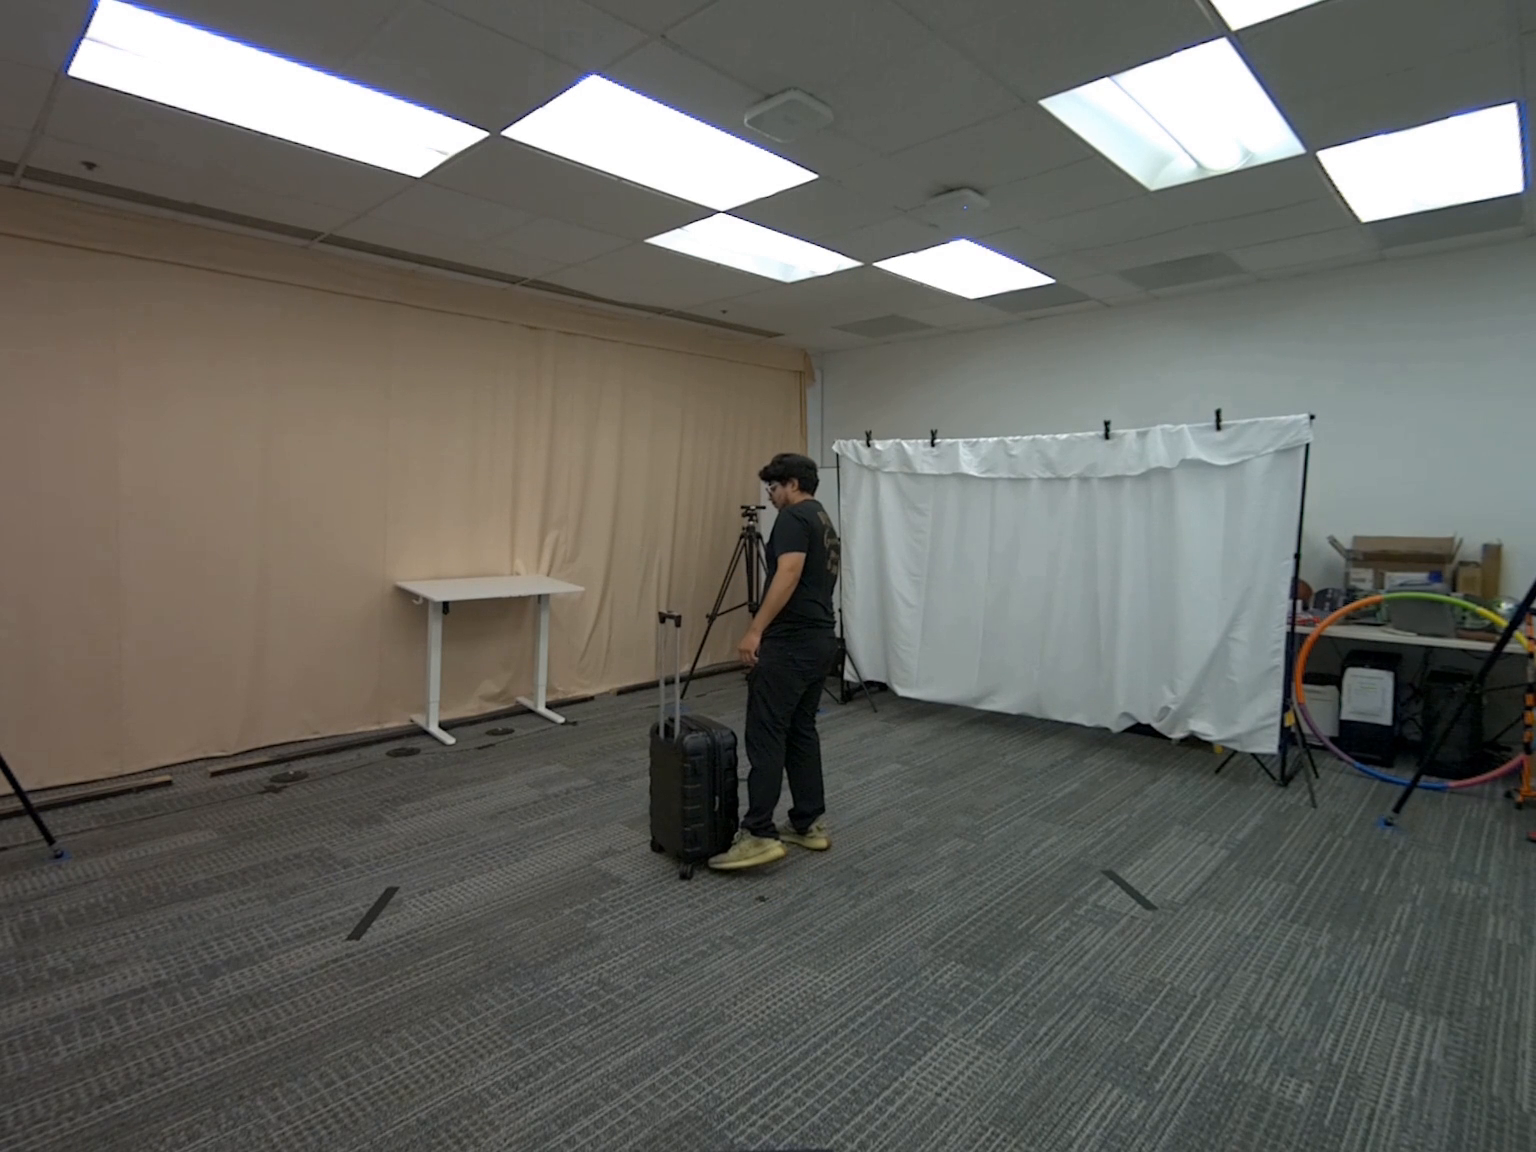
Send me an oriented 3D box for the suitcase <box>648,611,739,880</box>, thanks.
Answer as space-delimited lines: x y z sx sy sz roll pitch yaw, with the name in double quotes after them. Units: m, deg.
-0.306 0.638 3.323 0.250 0.977 0.395 0 3 -29 "suitcase"
